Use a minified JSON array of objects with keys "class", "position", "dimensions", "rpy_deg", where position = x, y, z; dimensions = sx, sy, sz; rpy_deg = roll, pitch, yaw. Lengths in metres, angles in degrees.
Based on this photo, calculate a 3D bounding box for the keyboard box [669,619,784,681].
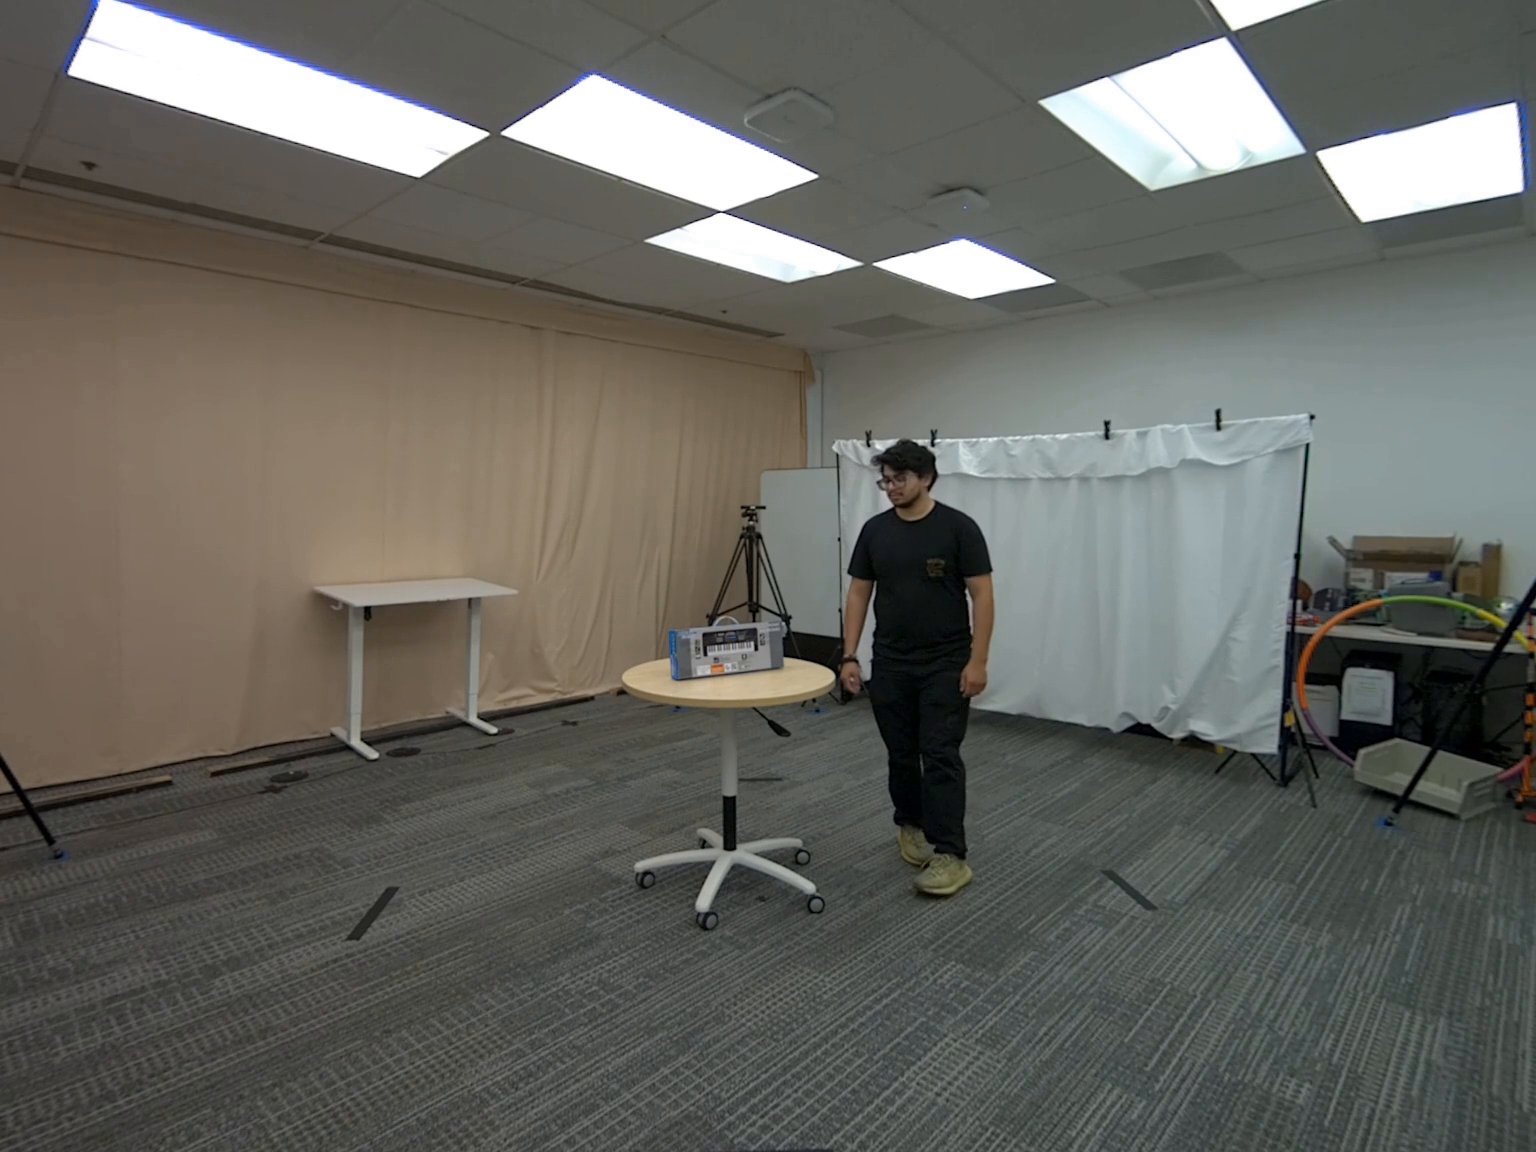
[{"class":"keyboard box","position":[-0.147,0.270,3.056],"dimensions":[0.426,0.176,0.060],"rpy_deg":[-3,-1,-27]}]
